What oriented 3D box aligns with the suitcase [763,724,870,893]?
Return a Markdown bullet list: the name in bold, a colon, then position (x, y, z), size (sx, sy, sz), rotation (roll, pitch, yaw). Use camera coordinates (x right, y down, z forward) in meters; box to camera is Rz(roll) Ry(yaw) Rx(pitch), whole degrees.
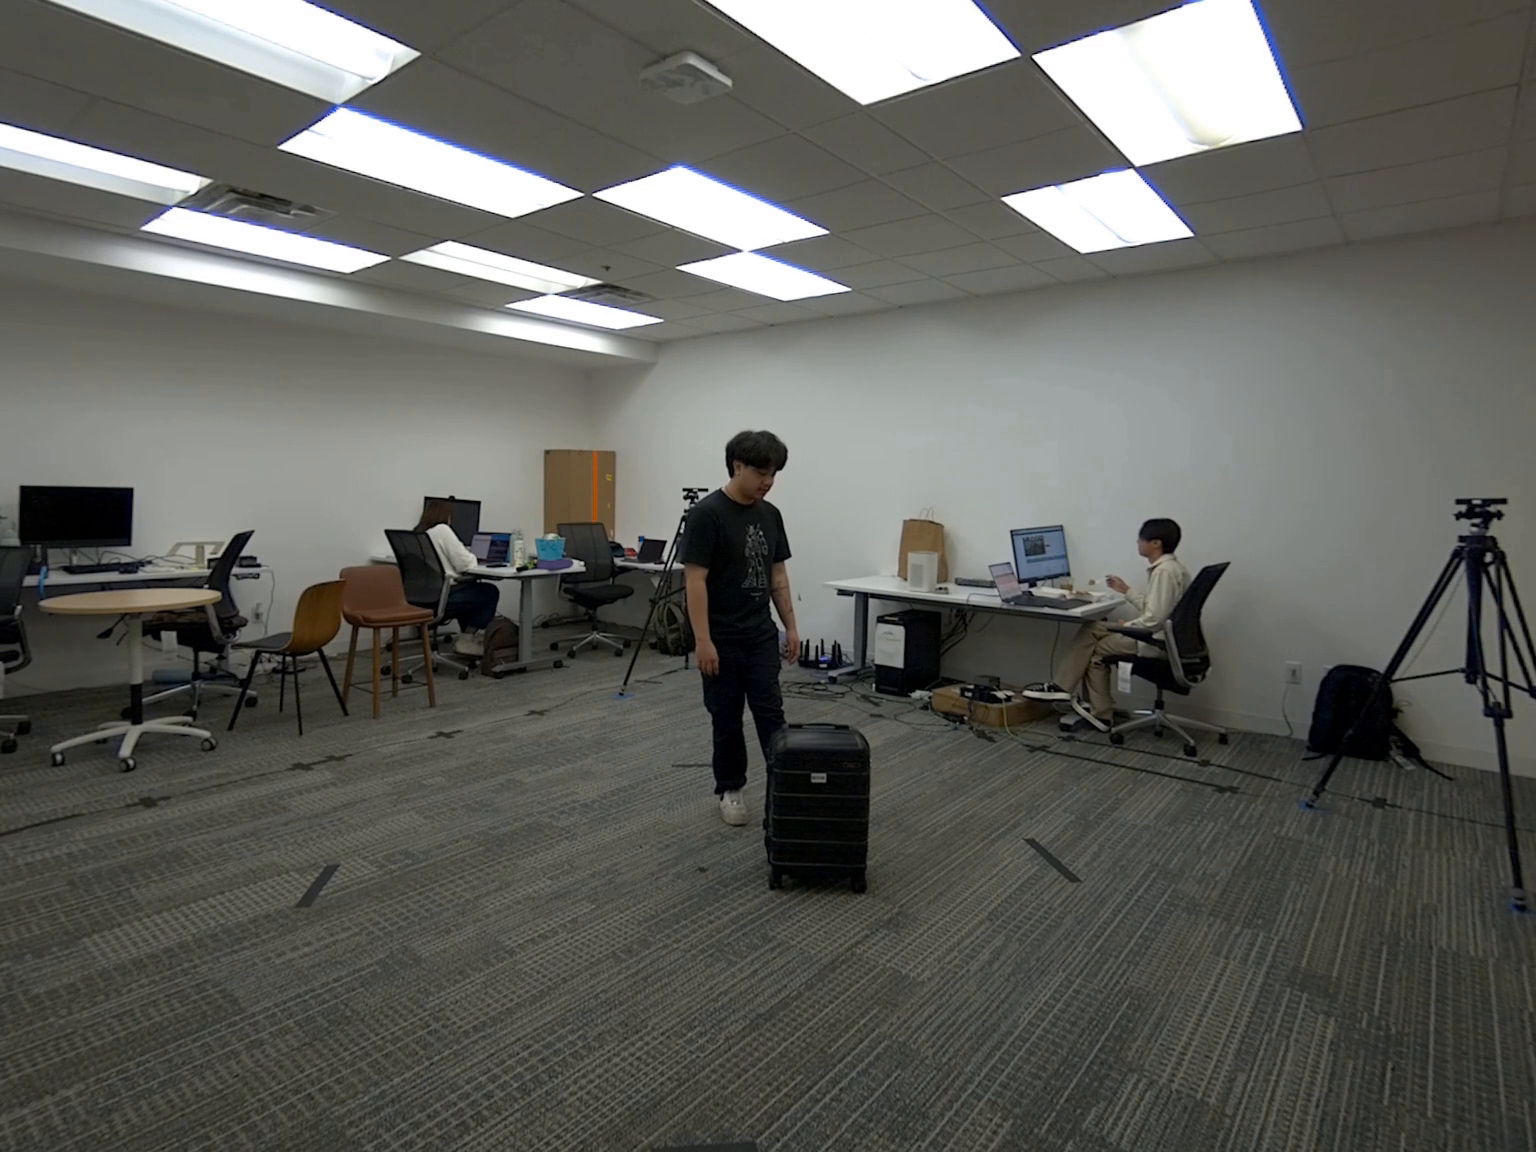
- **suitcase**: position (0.178, 0.812, 3.051), size (0.376, 0.545, 0.249), rotation (2, 8, 1)
